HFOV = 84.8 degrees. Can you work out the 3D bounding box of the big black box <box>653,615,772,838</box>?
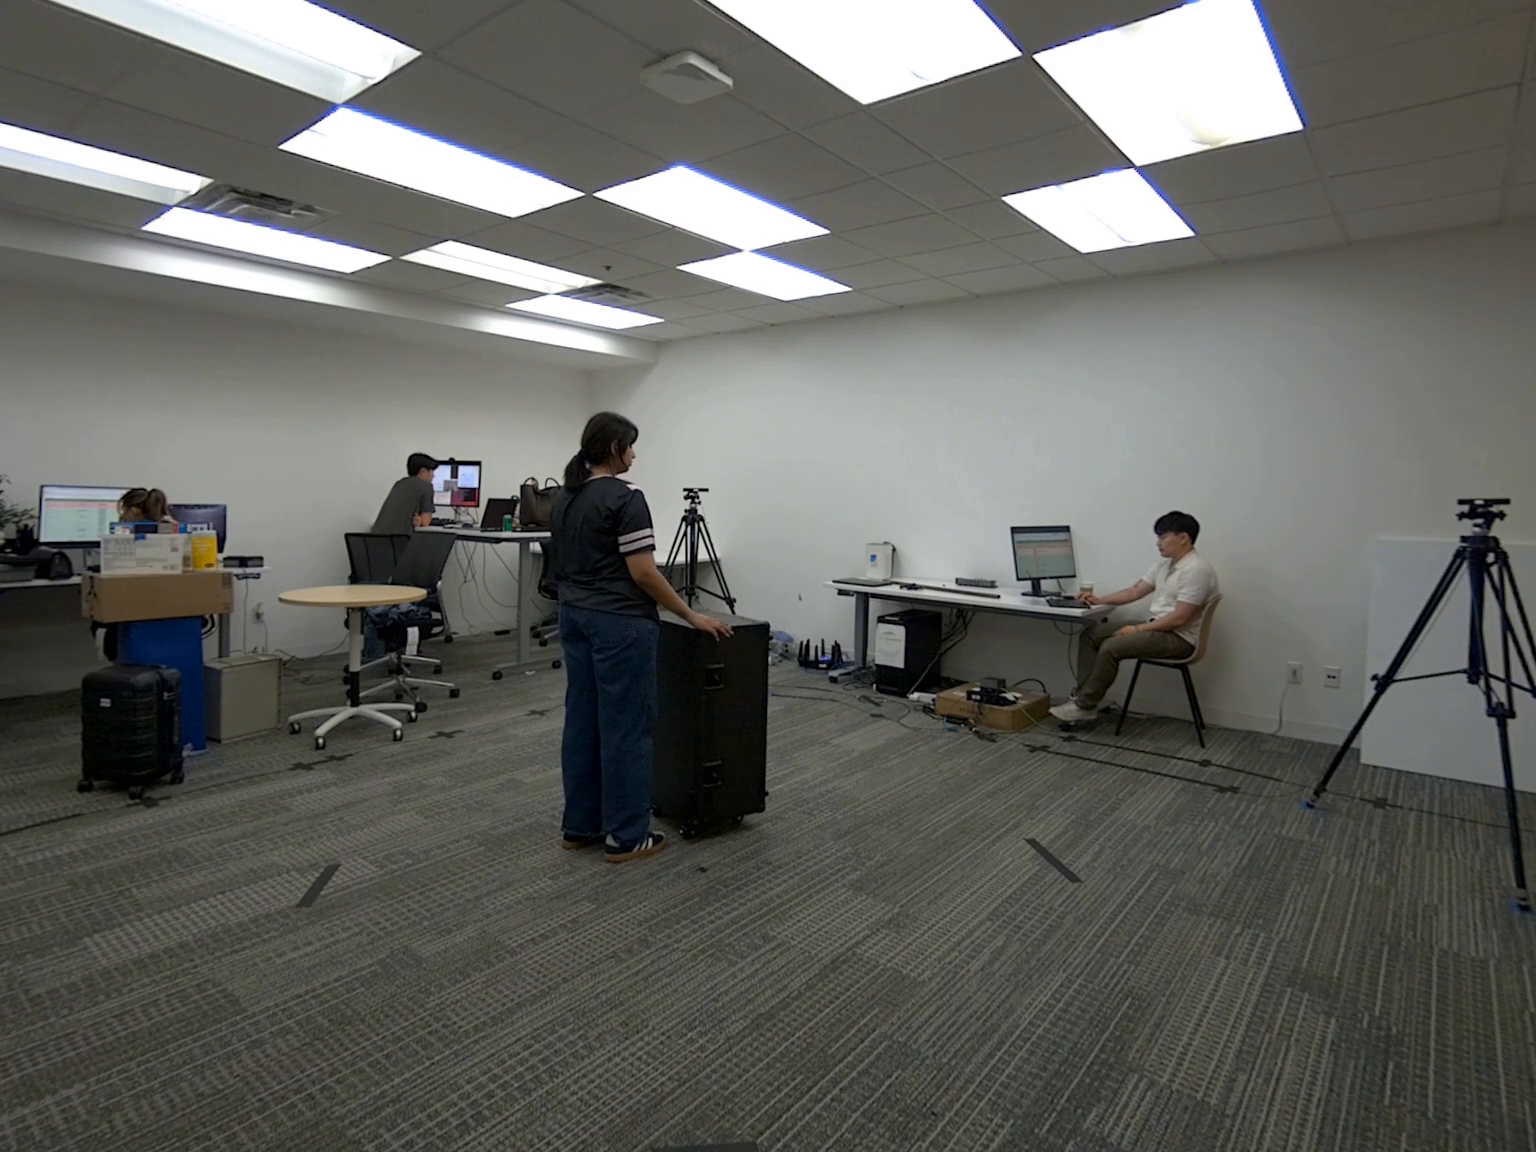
[{"bbox_3d":[-0.292,0.600,3.596,0.374,0.866,0.540,-1,4,-35],"label":"big black box"}]
